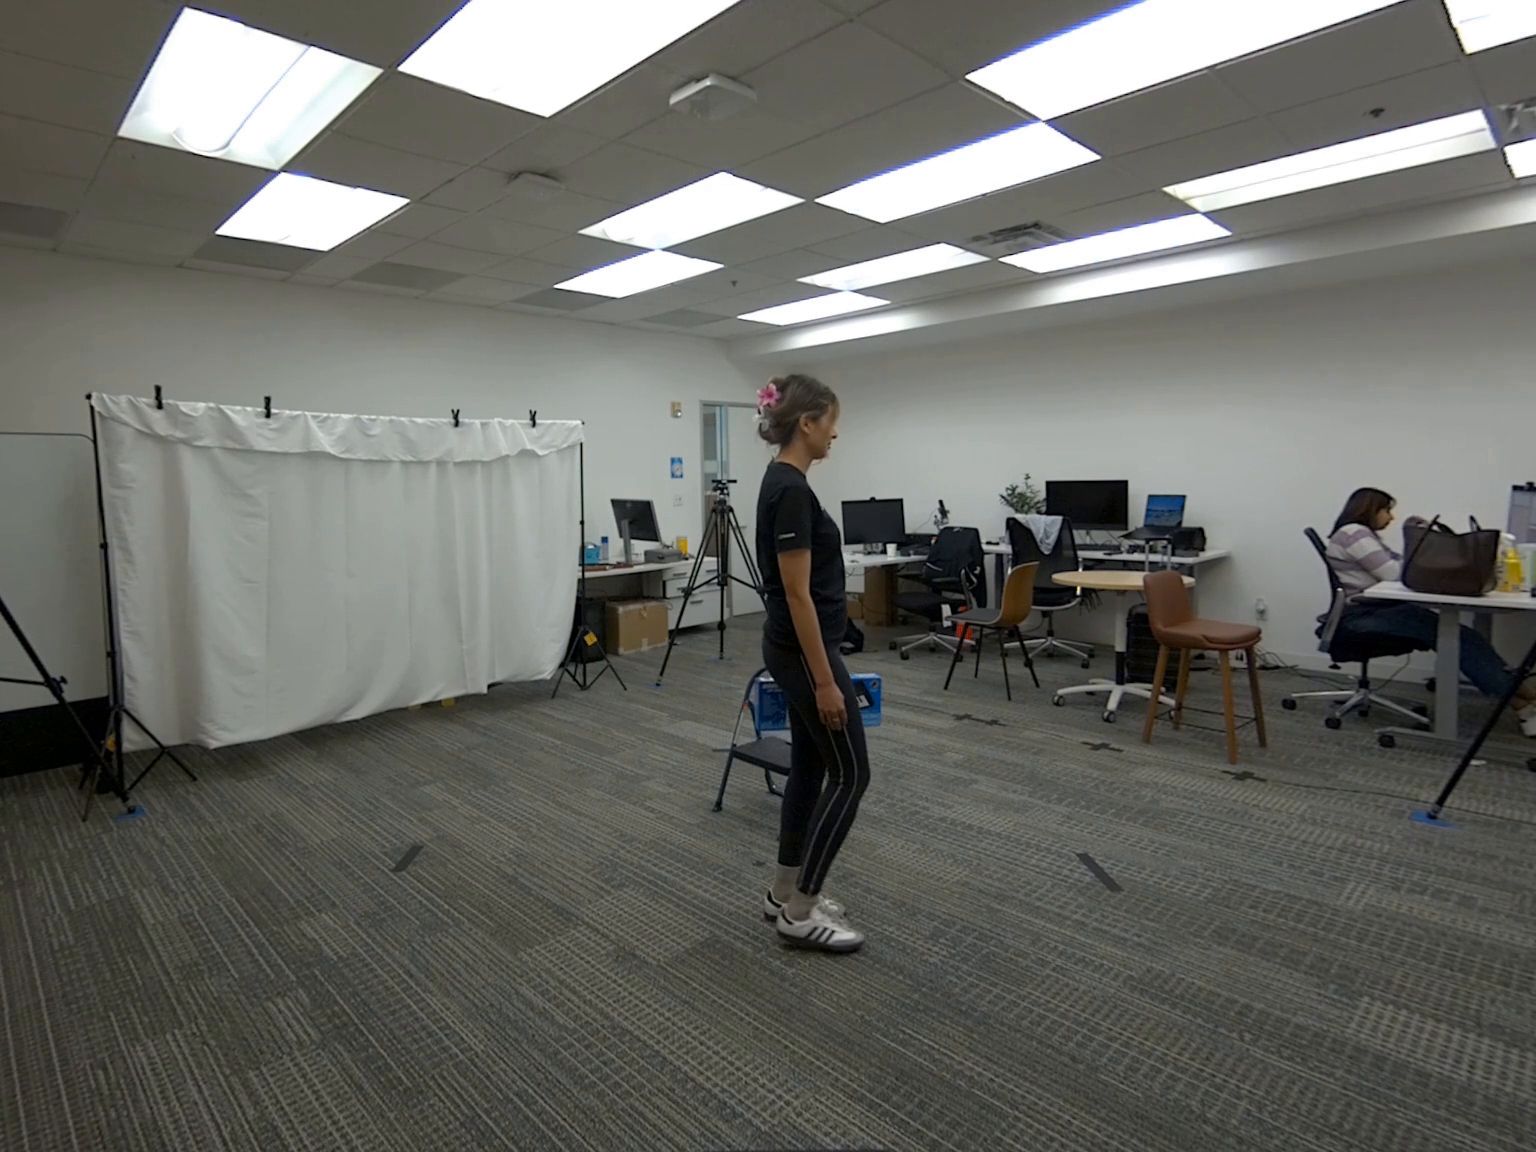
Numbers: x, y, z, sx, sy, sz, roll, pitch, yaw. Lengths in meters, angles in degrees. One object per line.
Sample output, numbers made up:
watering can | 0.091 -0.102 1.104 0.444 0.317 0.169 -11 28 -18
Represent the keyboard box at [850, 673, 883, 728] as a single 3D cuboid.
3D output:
keyboard box | 0.182 0.437 2.954 0.432 0.175 0.060 0 3 -10
